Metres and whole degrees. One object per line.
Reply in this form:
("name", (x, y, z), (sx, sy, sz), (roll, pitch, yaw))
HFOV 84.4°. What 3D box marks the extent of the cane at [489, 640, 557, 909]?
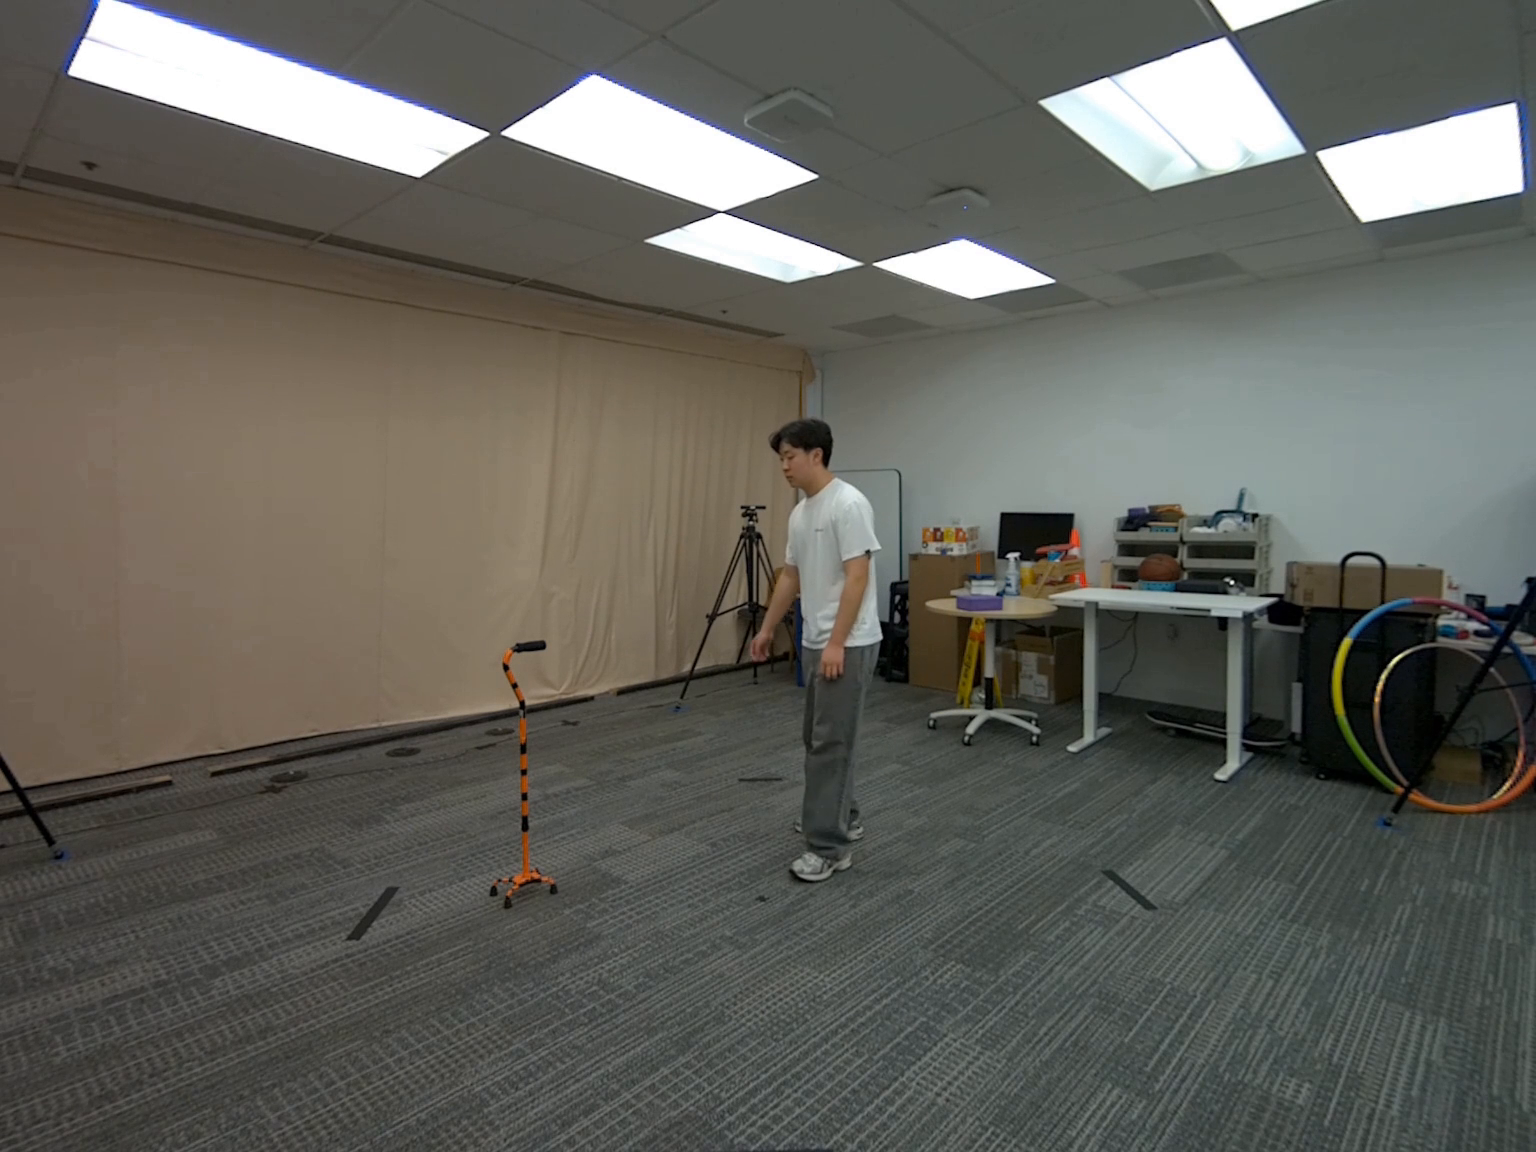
("cane", (-0.882, 0.695, 3.019), (0.200, 0.907, 0.156), (-2, 2, -40))
